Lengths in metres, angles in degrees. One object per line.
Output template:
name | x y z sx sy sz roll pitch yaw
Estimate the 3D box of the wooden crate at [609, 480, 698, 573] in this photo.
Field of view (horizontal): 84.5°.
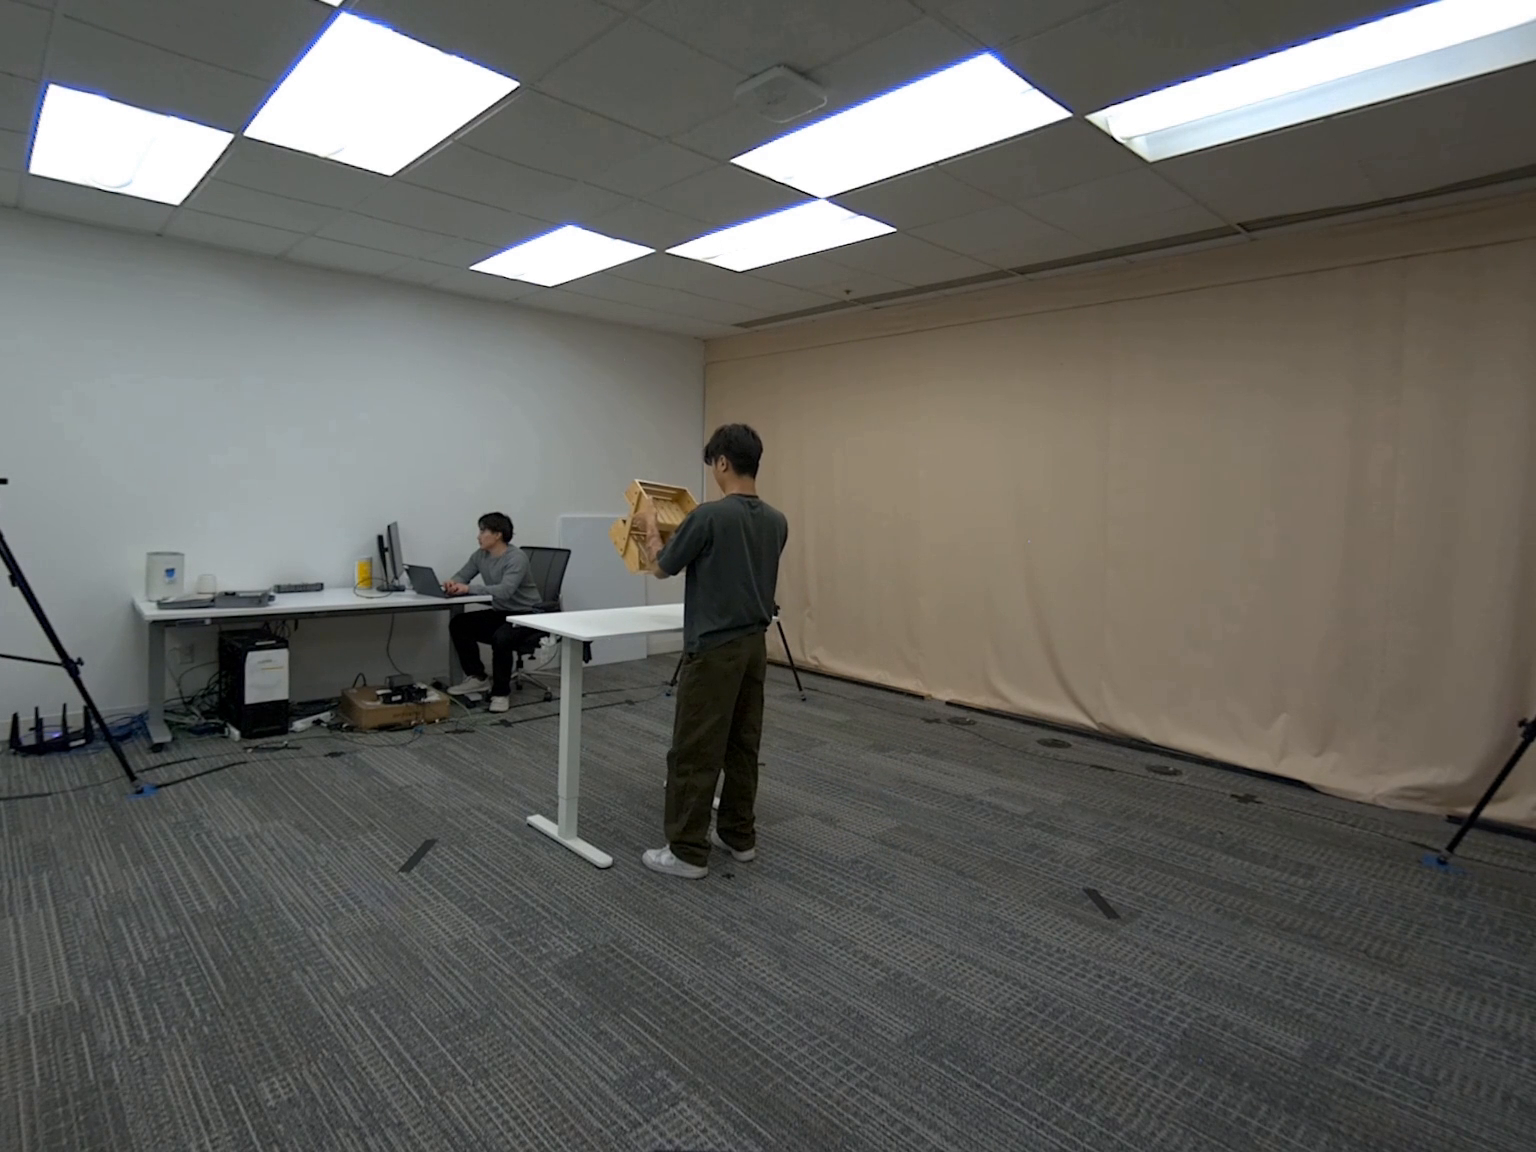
wooden crate | -0.446 -0.190 3.484 0.316 0.273 0.310 4 43 -50
